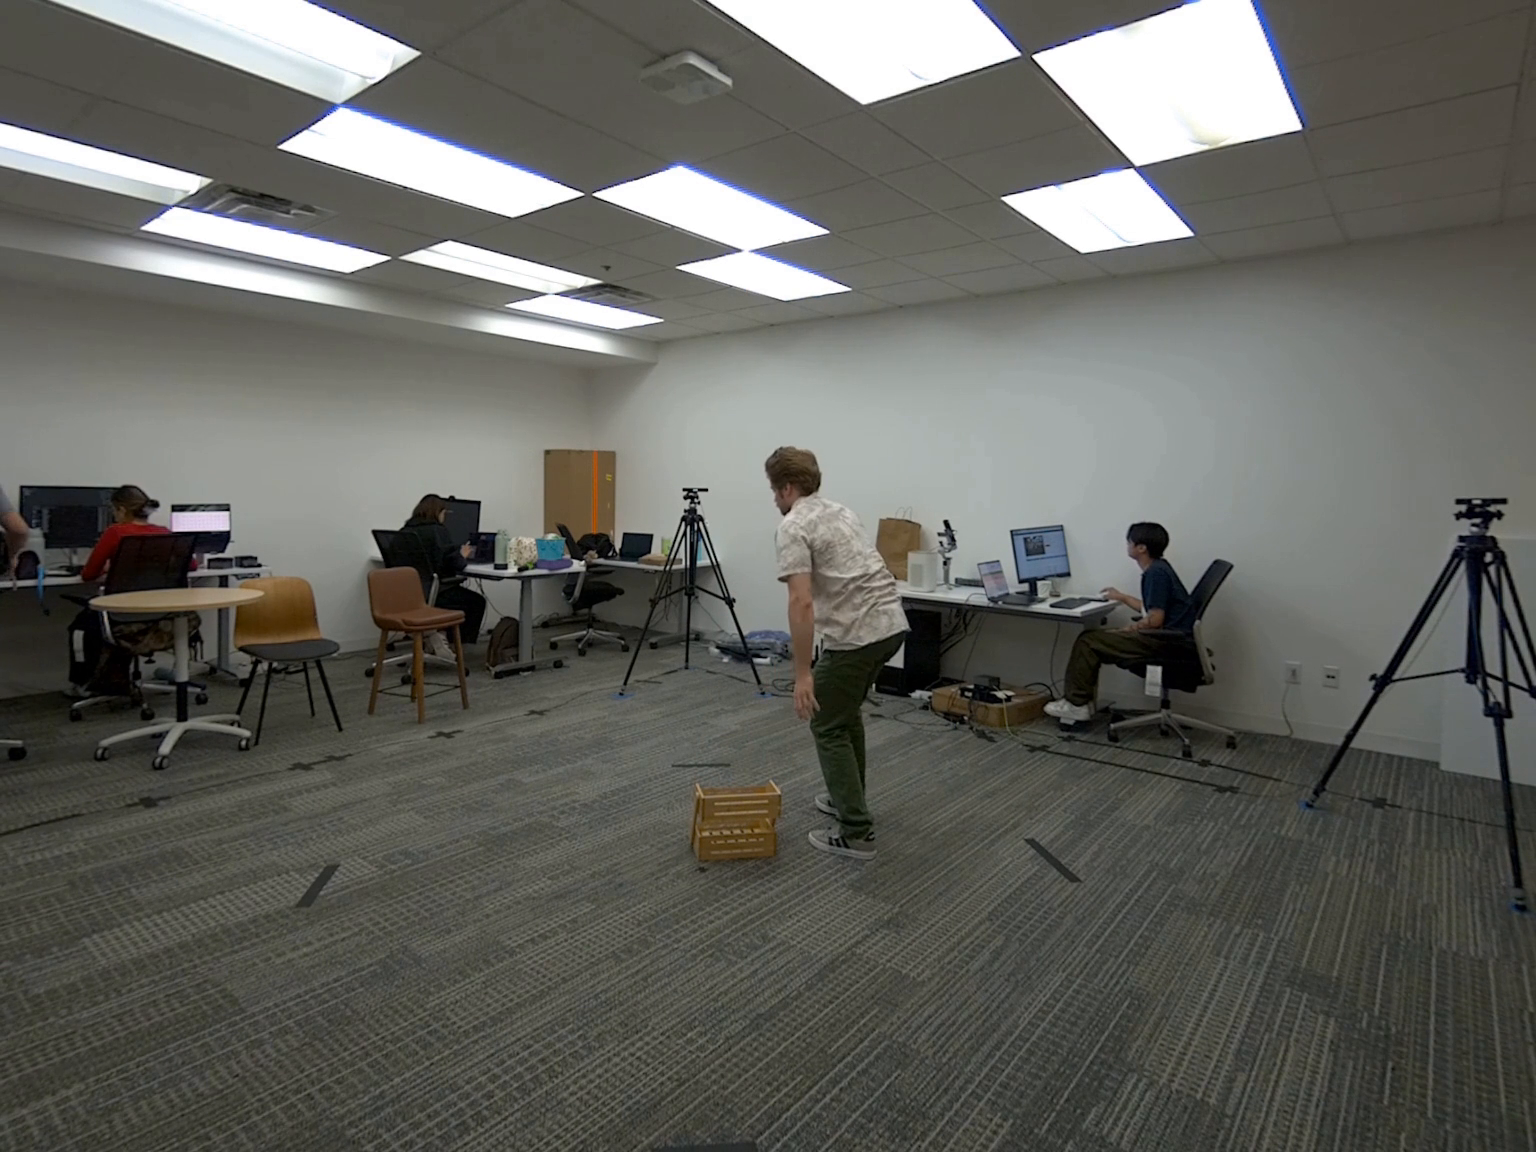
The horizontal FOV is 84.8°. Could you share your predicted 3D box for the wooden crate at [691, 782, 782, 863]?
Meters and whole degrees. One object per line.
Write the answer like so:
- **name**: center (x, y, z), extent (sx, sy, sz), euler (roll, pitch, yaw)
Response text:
- **wooden crate**: center (-0.140, 0.918, 3.304), extent (0.320, 0.272, 0.307), euler (0, 4, -13)
